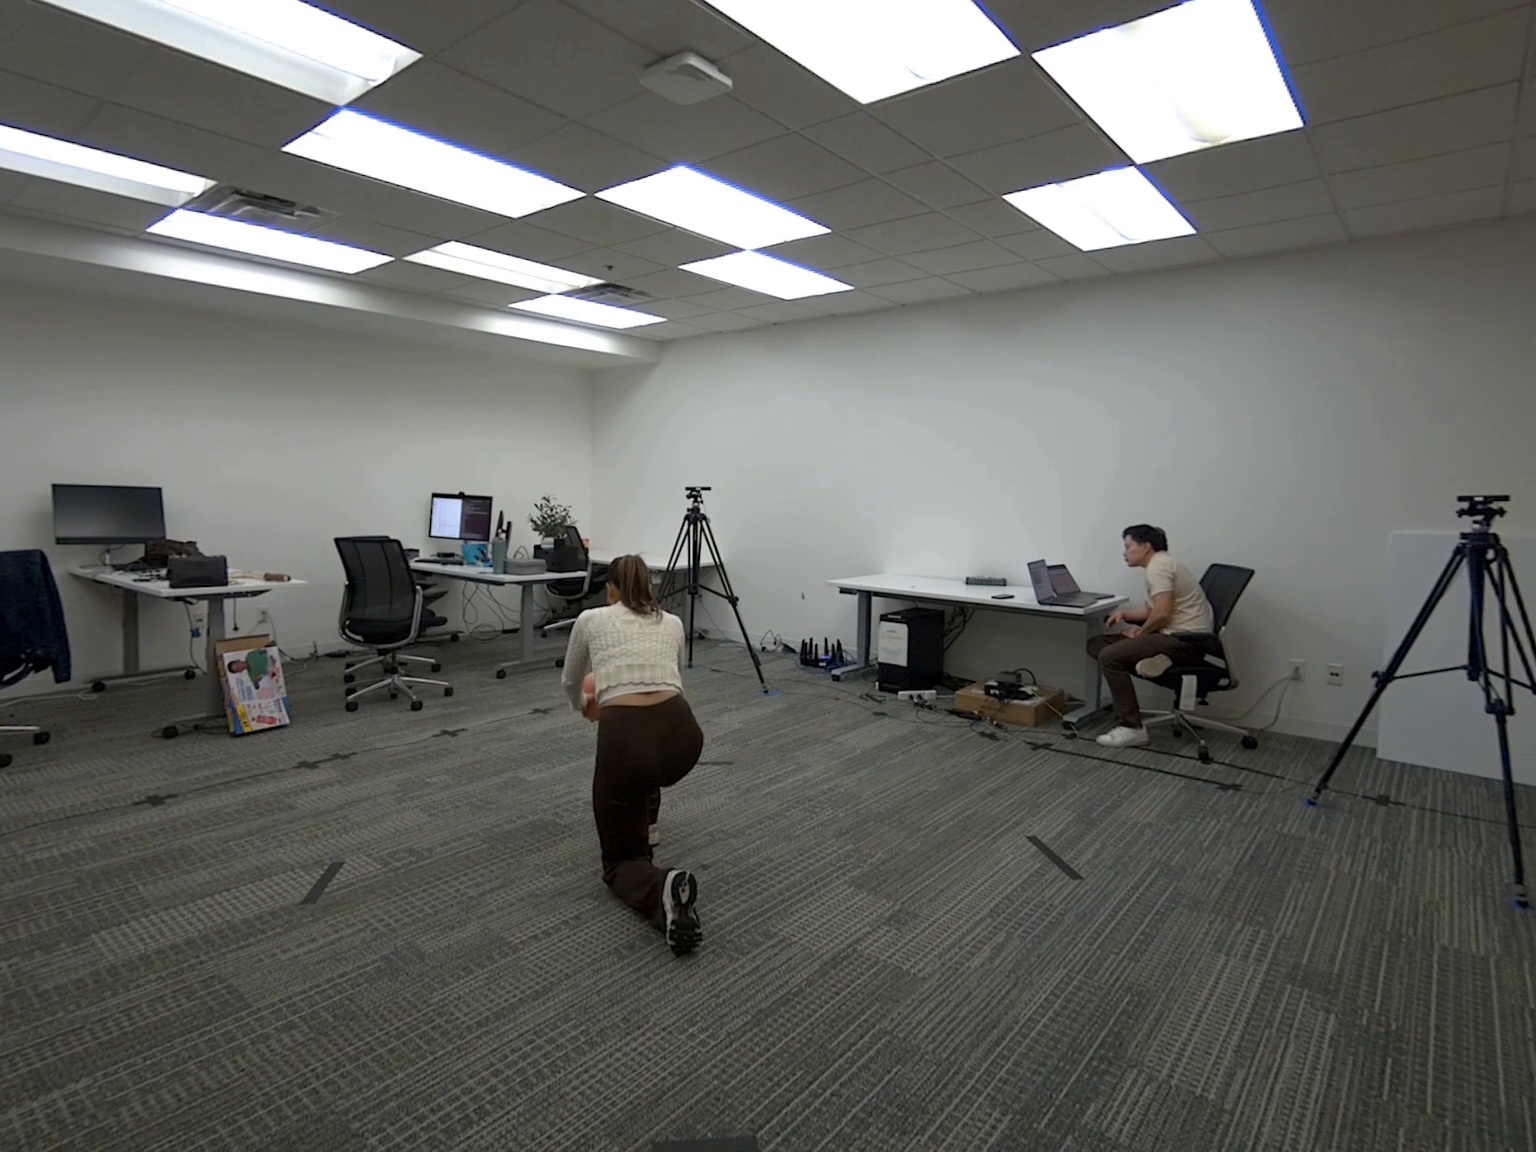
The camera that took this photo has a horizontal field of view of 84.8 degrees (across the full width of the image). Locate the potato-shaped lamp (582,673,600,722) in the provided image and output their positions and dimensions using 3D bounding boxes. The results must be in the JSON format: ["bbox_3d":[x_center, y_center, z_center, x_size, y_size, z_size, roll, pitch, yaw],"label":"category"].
[{"bbox_3d":[-0.736,0.501,3.651,0.162,0.195,0.177,-4,19,-14],"label":"potato-shaped lamp"}]
